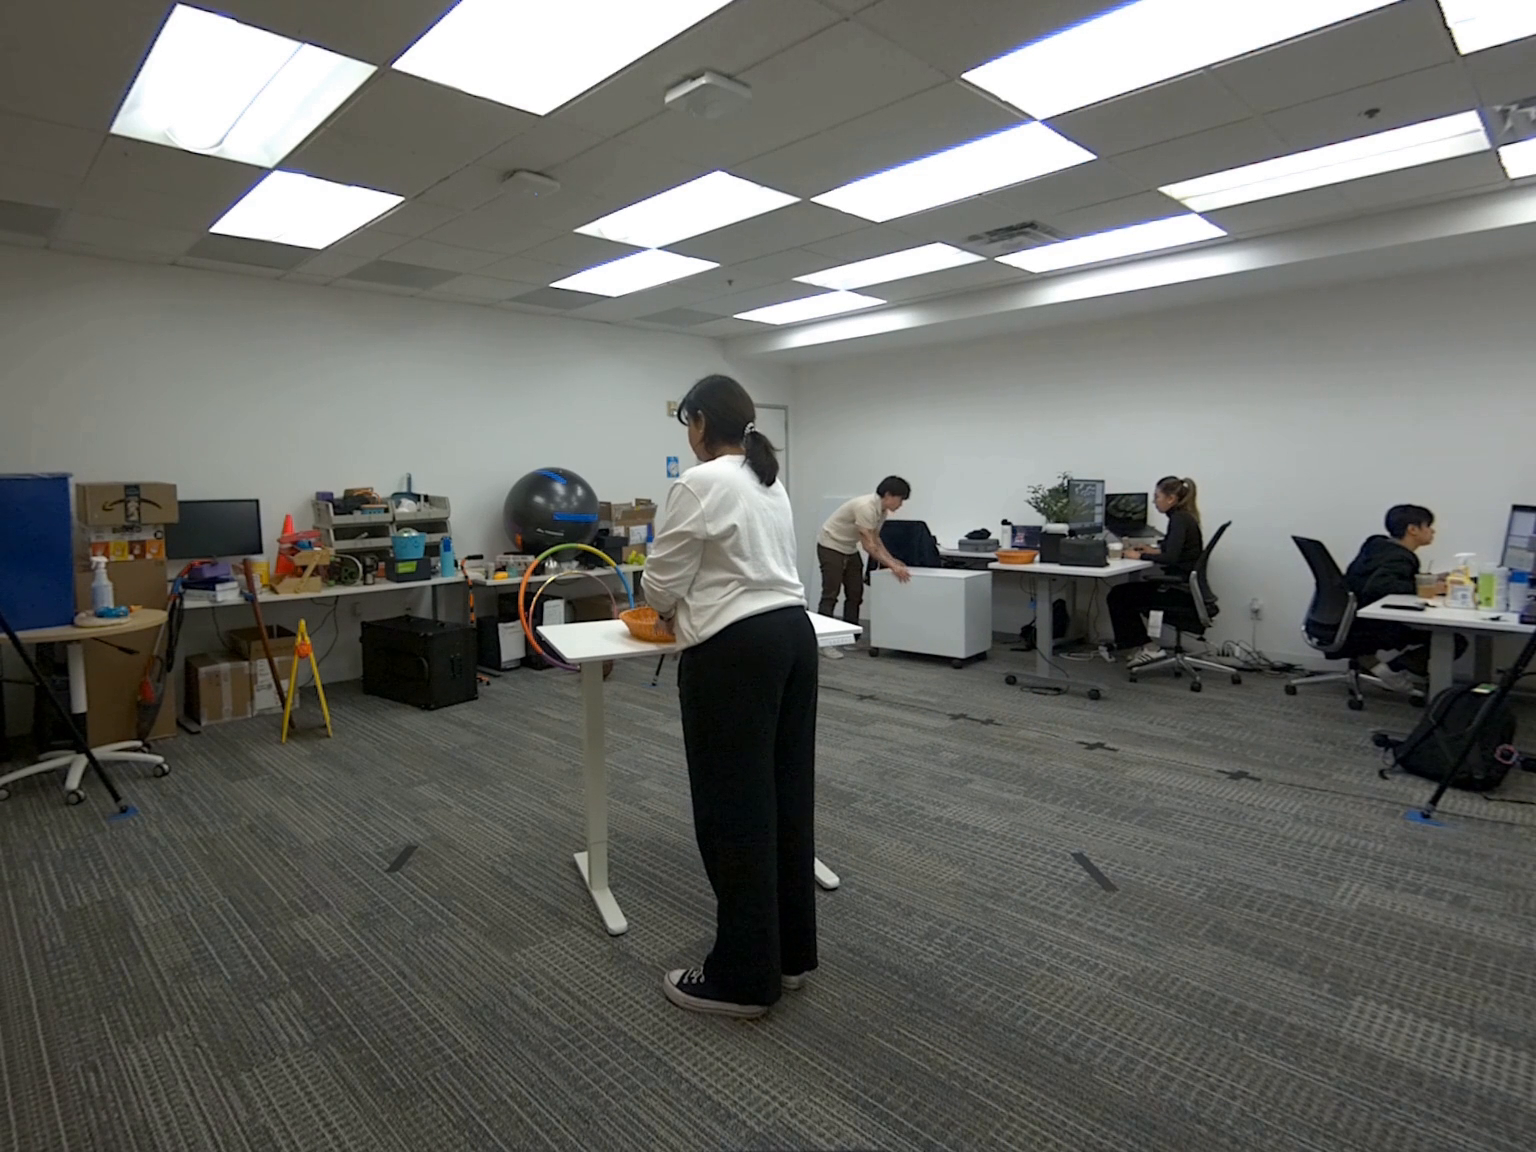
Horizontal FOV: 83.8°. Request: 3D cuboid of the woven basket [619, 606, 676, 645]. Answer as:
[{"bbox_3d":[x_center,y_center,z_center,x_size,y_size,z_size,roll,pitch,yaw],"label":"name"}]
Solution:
[{"bbox_3d":[-0.346,0.165,2.846,0.247,0.073,0.359,-6,7,-27],"label":"woven basket"}]
